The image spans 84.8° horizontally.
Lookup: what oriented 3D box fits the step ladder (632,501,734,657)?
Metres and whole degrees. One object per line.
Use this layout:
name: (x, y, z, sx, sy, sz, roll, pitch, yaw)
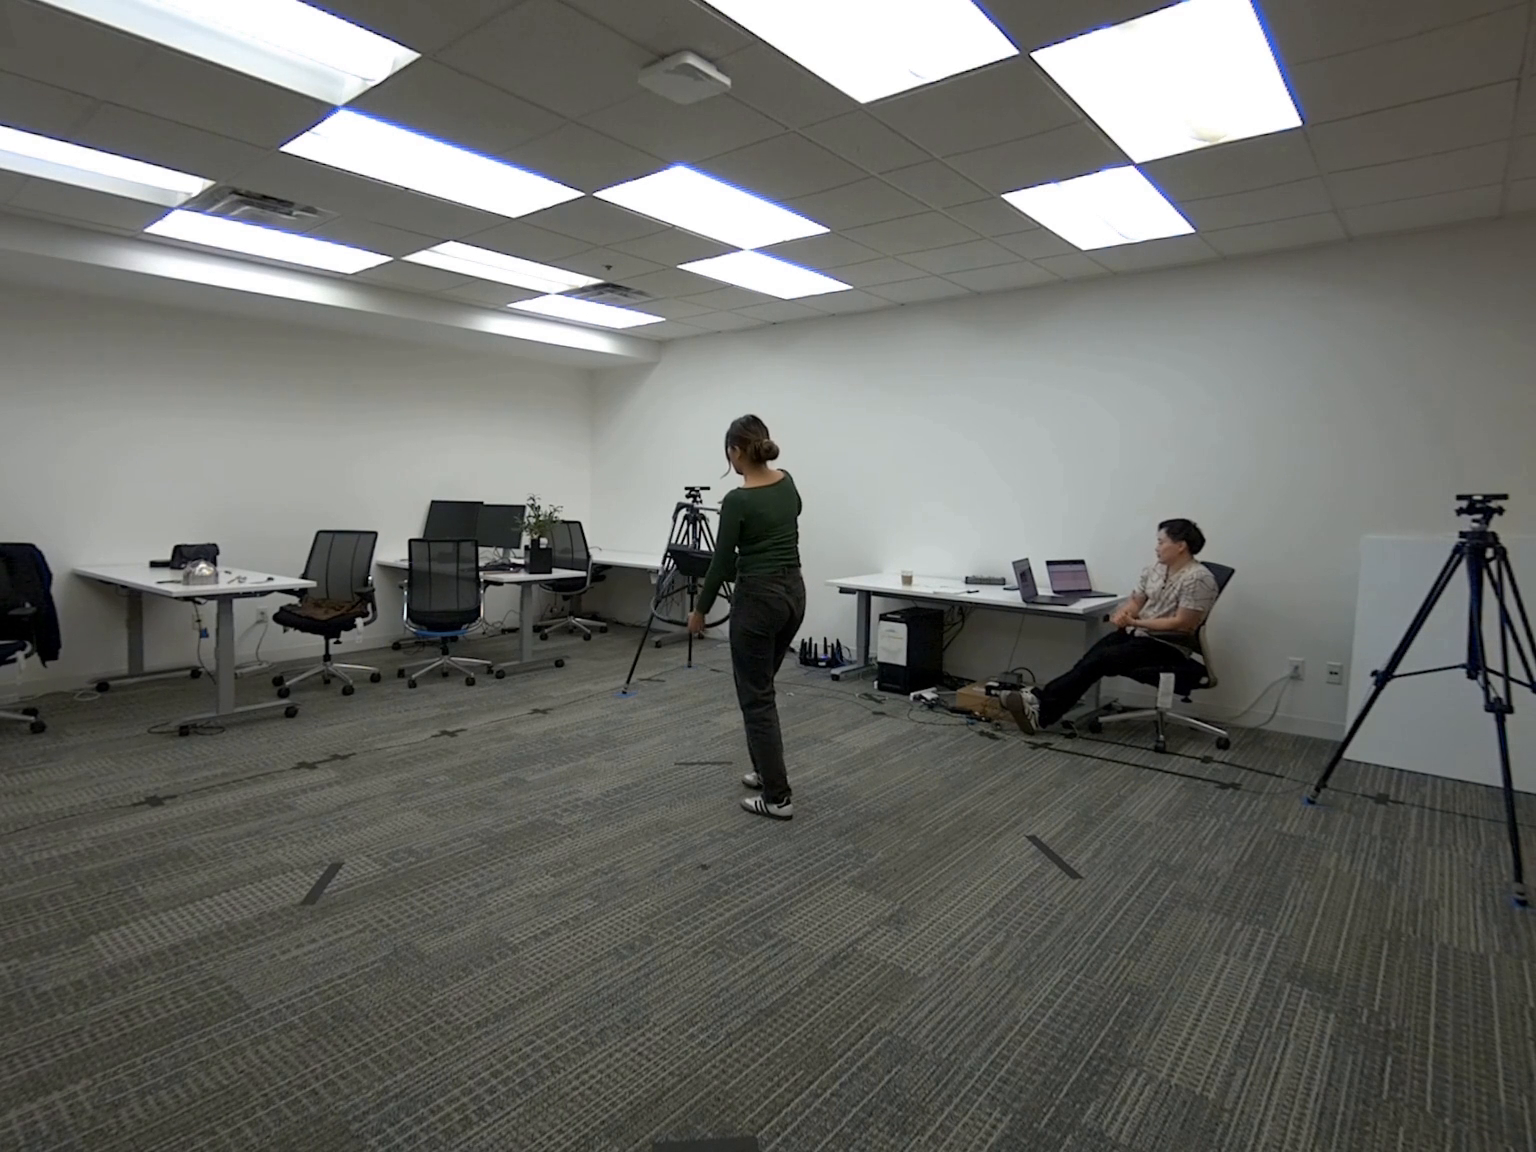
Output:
step ladder: (-0.300, 0.004, 4.031, 0.441, 0.615, 0.336, 6, -32, 20)
